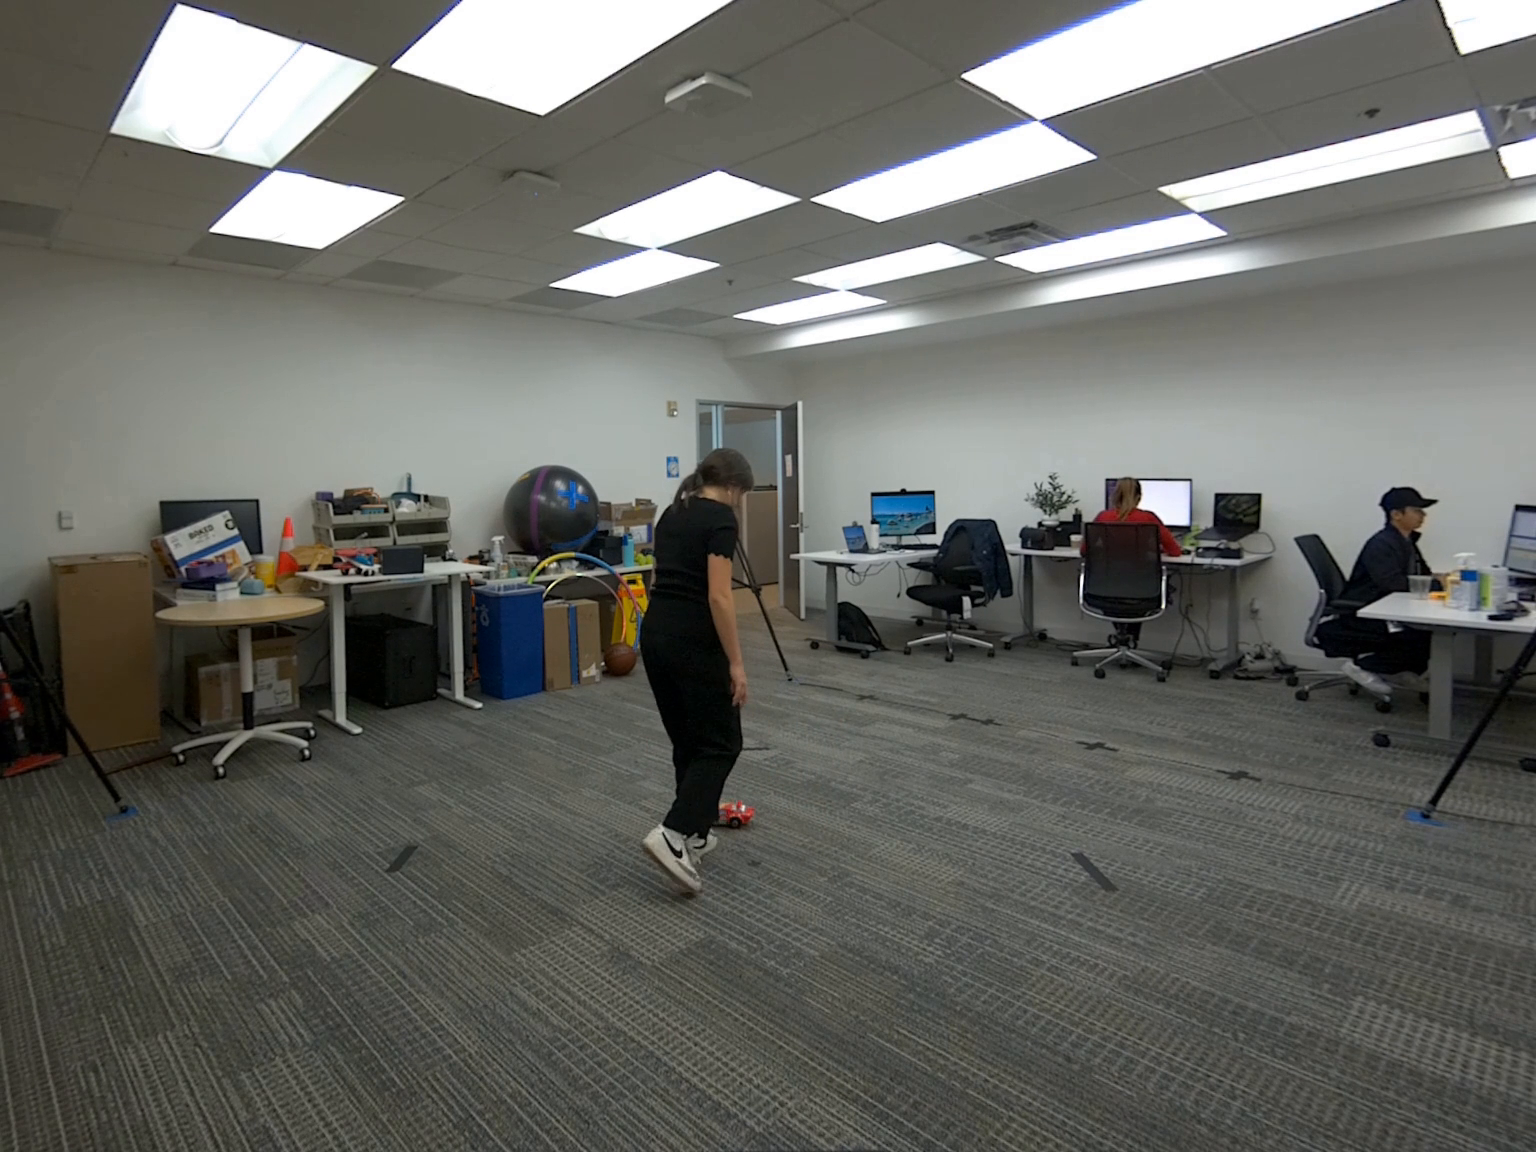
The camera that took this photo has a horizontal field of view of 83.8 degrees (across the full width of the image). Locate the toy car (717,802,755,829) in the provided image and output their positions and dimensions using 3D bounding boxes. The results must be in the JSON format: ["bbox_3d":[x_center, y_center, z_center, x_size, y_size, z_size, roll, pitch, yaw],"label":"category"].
[{"bbox_3d":[-0.175,0.974,3.473,0.256,0.083,0.130,-11,5,7],"label":"toy car"}]
